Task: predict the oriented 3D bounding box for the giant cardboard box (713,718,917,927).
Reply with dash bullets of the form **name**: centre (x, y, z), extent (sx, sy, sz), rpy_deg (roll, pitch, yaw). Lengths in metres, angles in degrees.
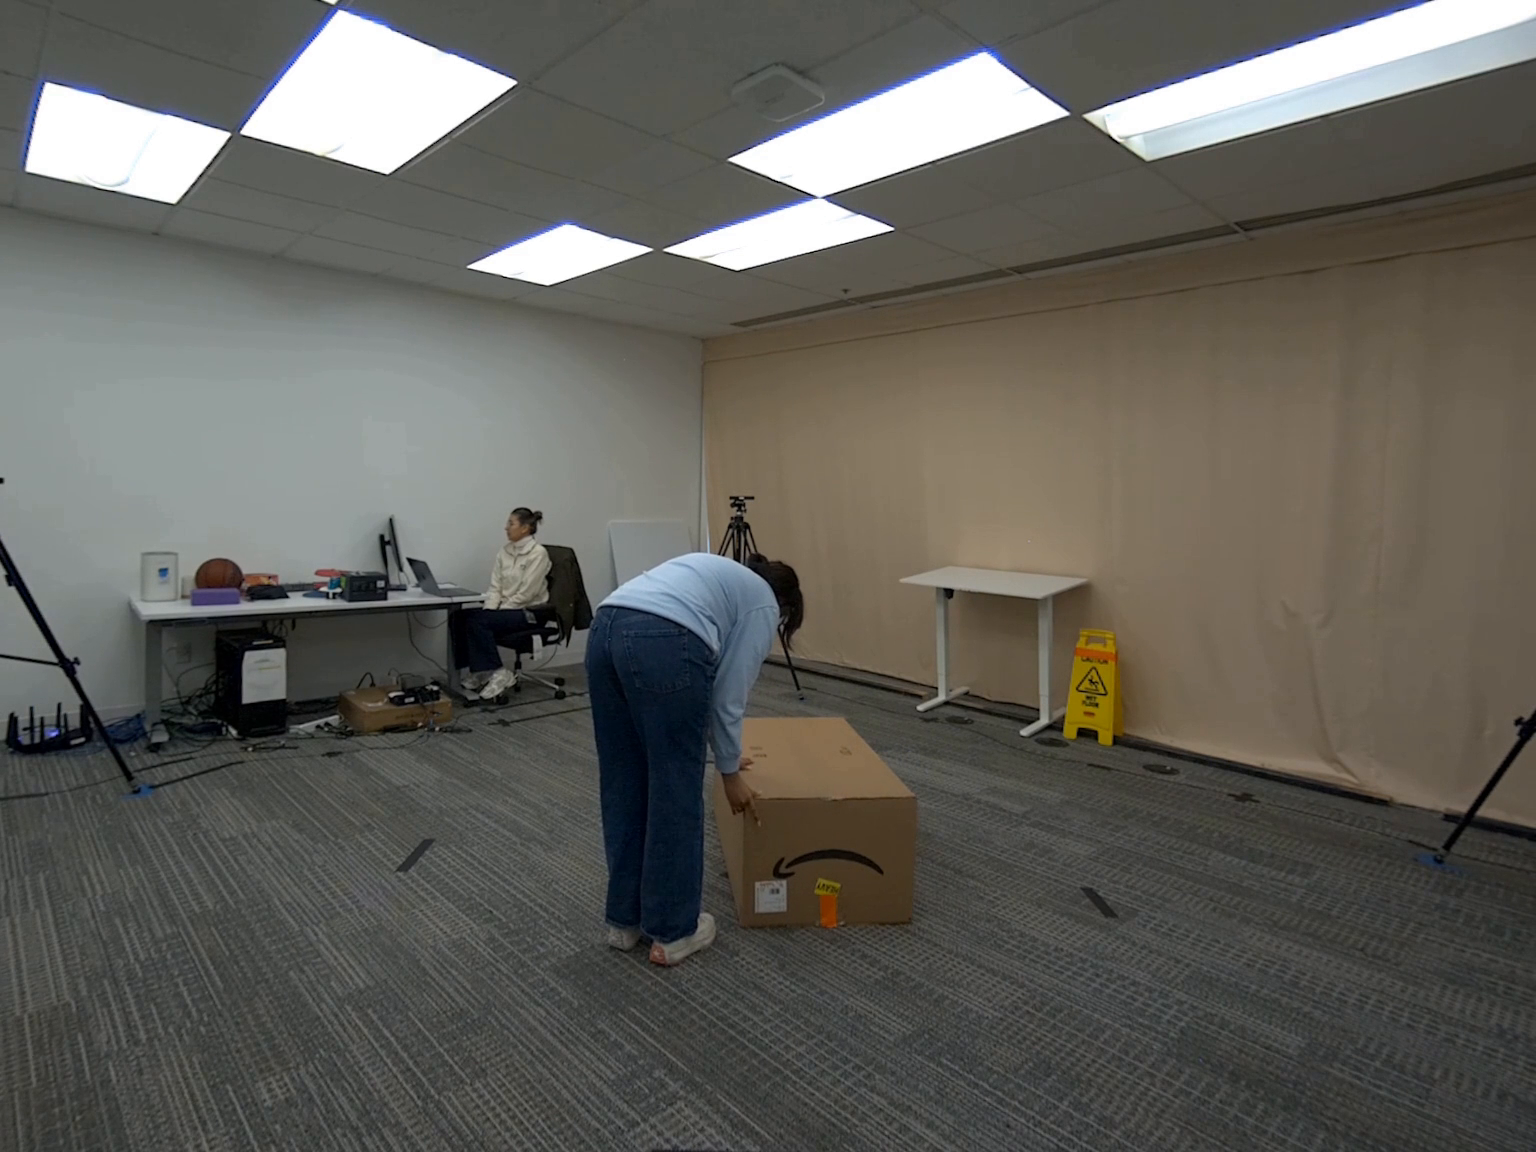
- **giant cardboard box**: centre (0.121, 0.885, 3.242), extent (0.574, 0.425, 1.035), rpy_deg (1, 5, -8)
